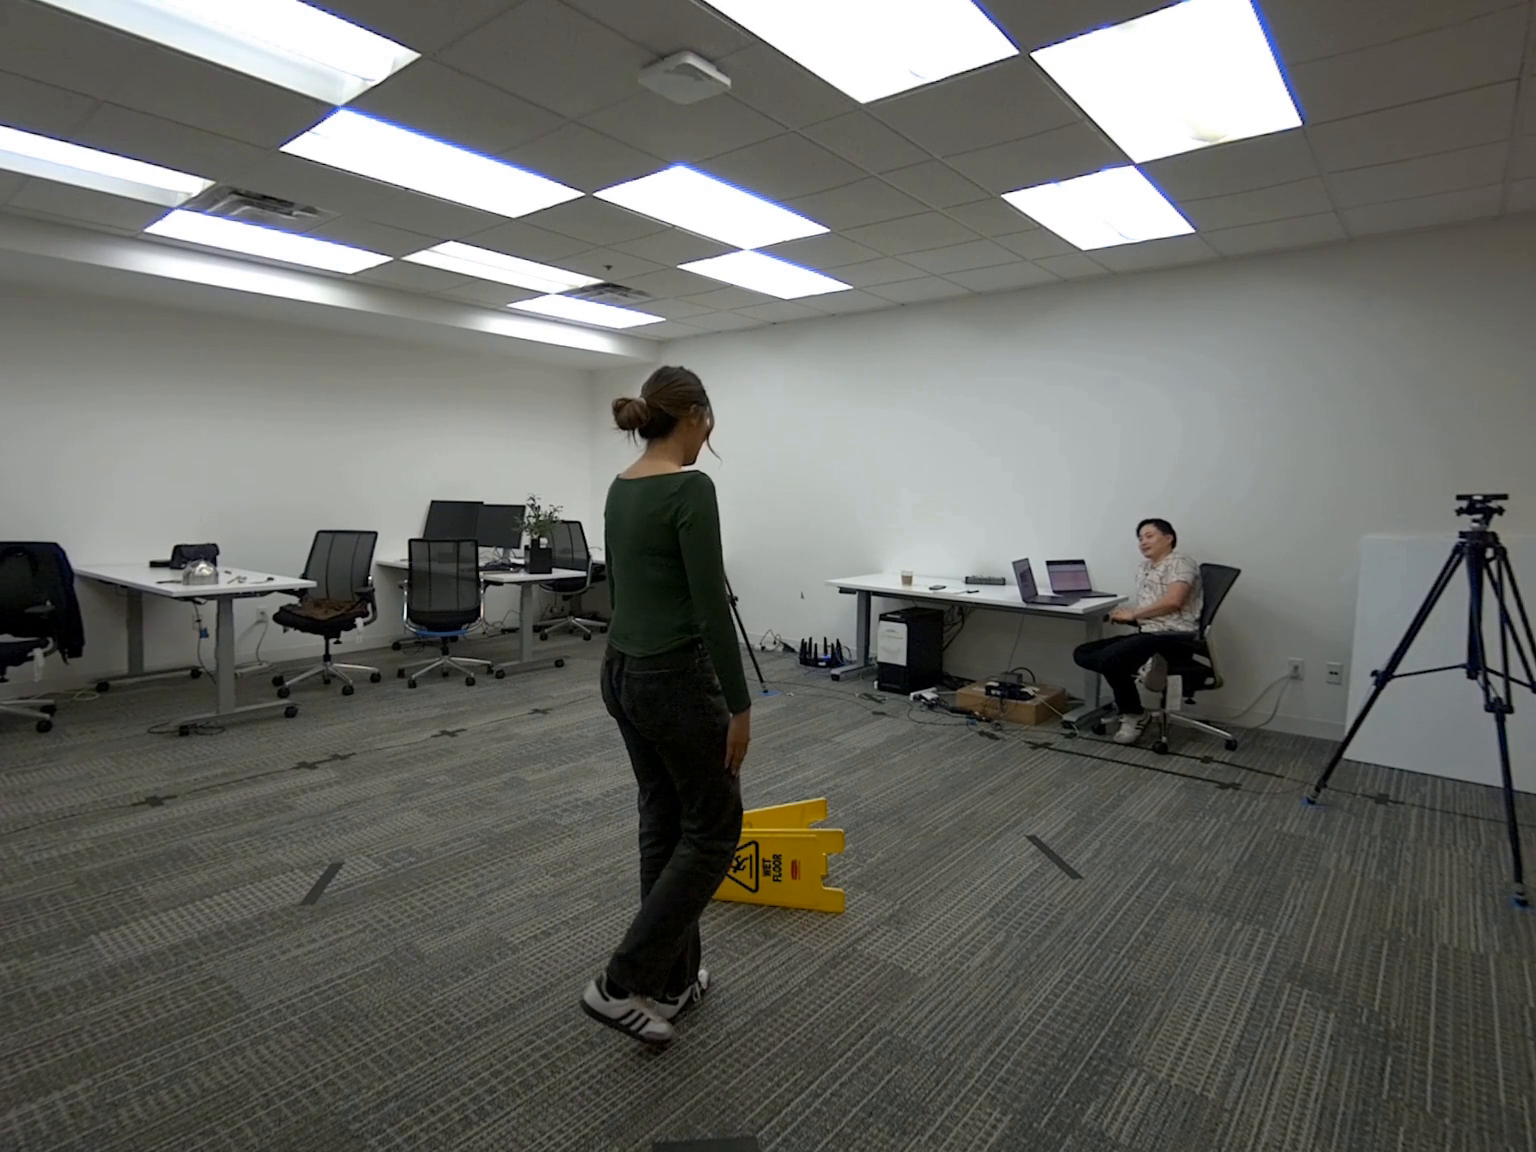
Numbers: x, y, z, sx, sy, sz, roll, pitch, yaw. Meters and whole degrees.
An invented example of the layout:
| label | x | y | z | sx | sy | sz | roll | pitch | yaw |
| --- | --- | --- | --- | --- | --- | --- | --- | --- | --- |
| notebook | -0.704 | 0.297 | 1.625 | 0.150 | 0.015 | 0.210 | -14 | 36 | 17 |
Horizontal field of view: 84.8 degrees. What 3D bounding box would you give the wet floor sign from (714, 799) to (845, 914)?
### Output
| label | x | y | z | sx | sy | sz | roll | pitch | yaw |
| --- | --- | --- | --- | --- | --- | --- | --- | --- | --- |
| wet floor sign | -0.098 | 0.954 | 2.908 | 0.643 | 0.281 | 0.292 | -2 | 5 | -4 |
